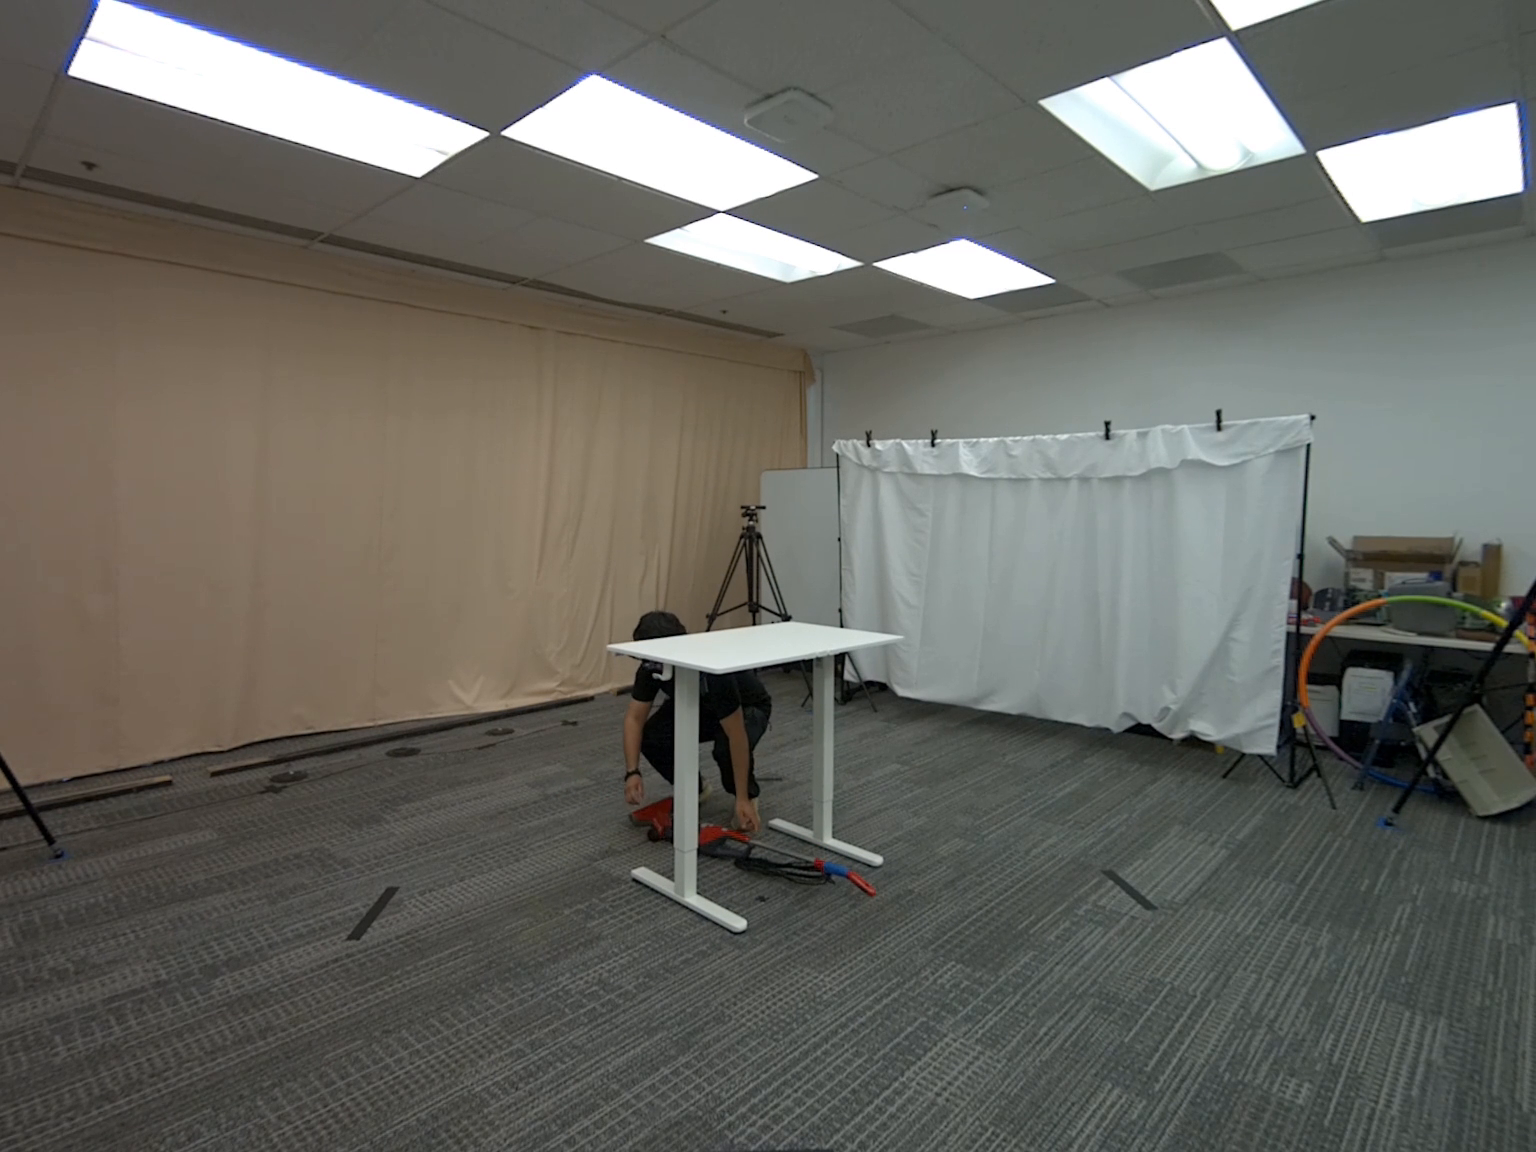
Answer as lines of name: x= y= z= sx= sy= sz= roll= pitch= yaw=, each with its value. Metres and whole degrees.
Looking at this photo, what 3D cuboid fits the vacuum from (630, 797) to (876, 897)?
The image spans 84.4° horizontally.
vacuum: x=-0.052 y=1.065 z=3.214 sx=1.084 sy=0.143 sz=0.245 roll=5 pitch=6 yaw=40
